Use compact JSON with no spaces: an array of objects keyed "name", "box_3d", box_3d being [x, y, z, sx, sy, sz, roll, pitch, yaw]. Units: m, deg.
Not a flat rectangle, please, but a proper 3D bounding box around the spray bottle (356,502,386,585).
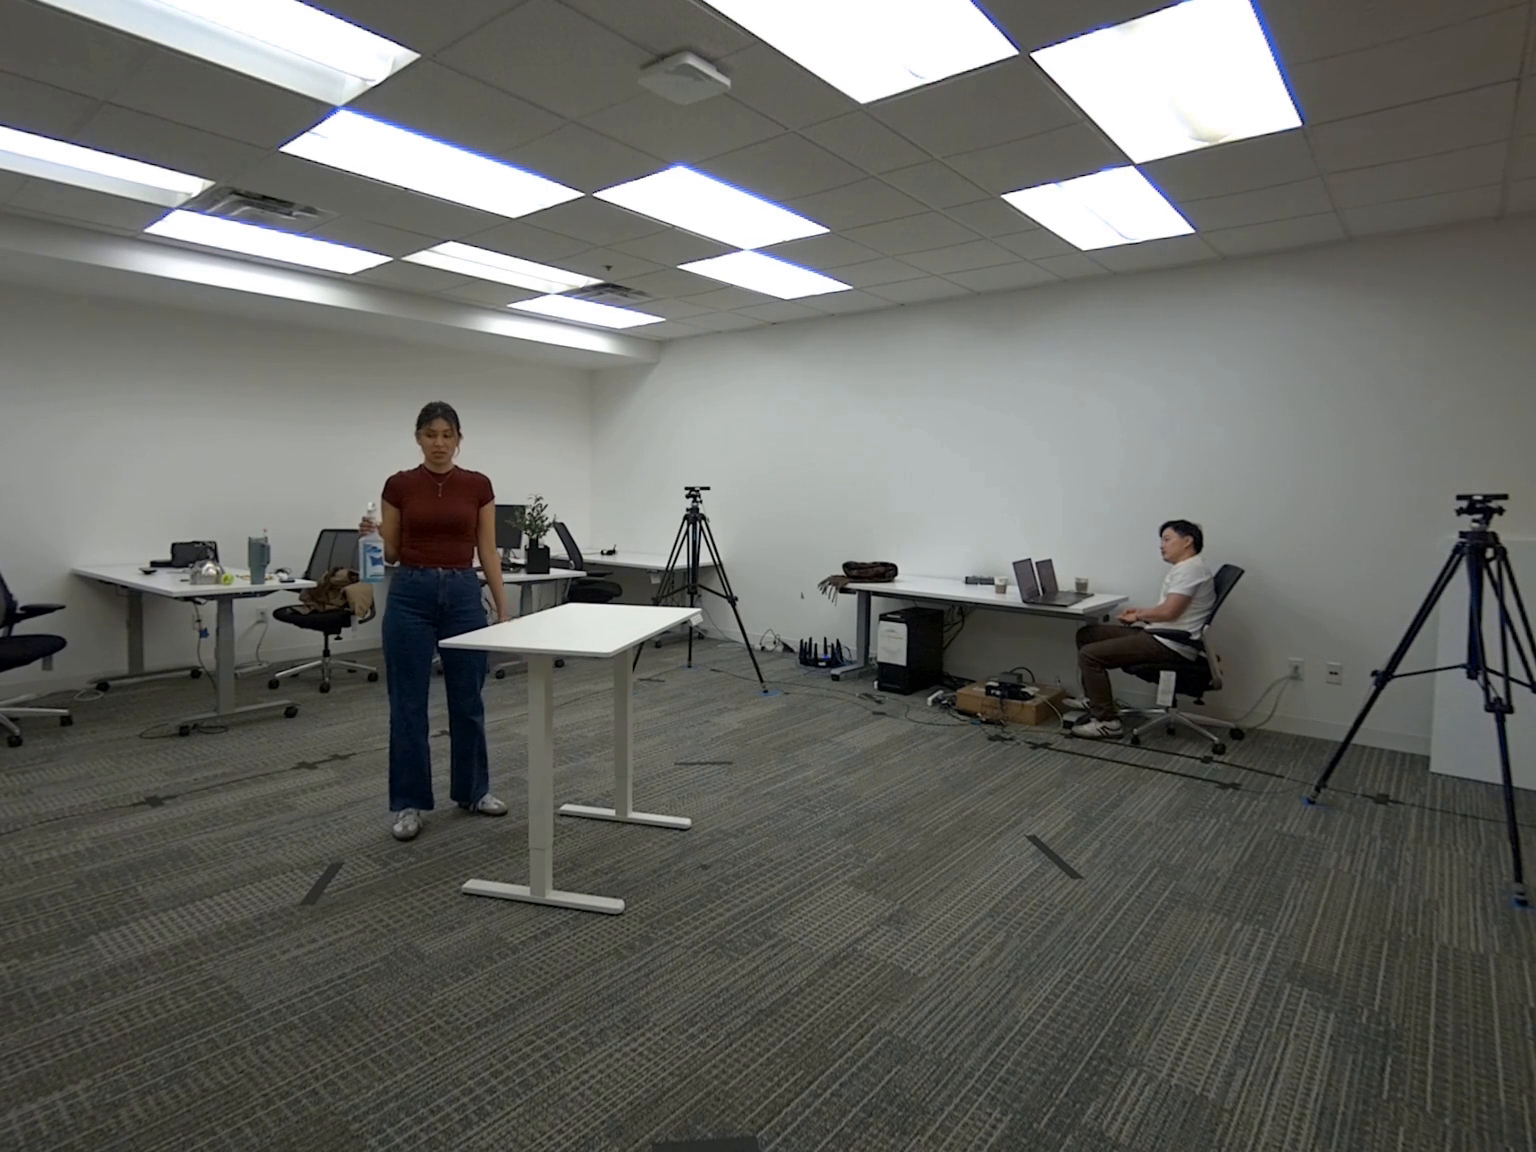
[{"name":"spray bottle","box_3d":[-1.508,-0.129,3.163,0.088,0.298,0.089,-2,-2,9]}]
